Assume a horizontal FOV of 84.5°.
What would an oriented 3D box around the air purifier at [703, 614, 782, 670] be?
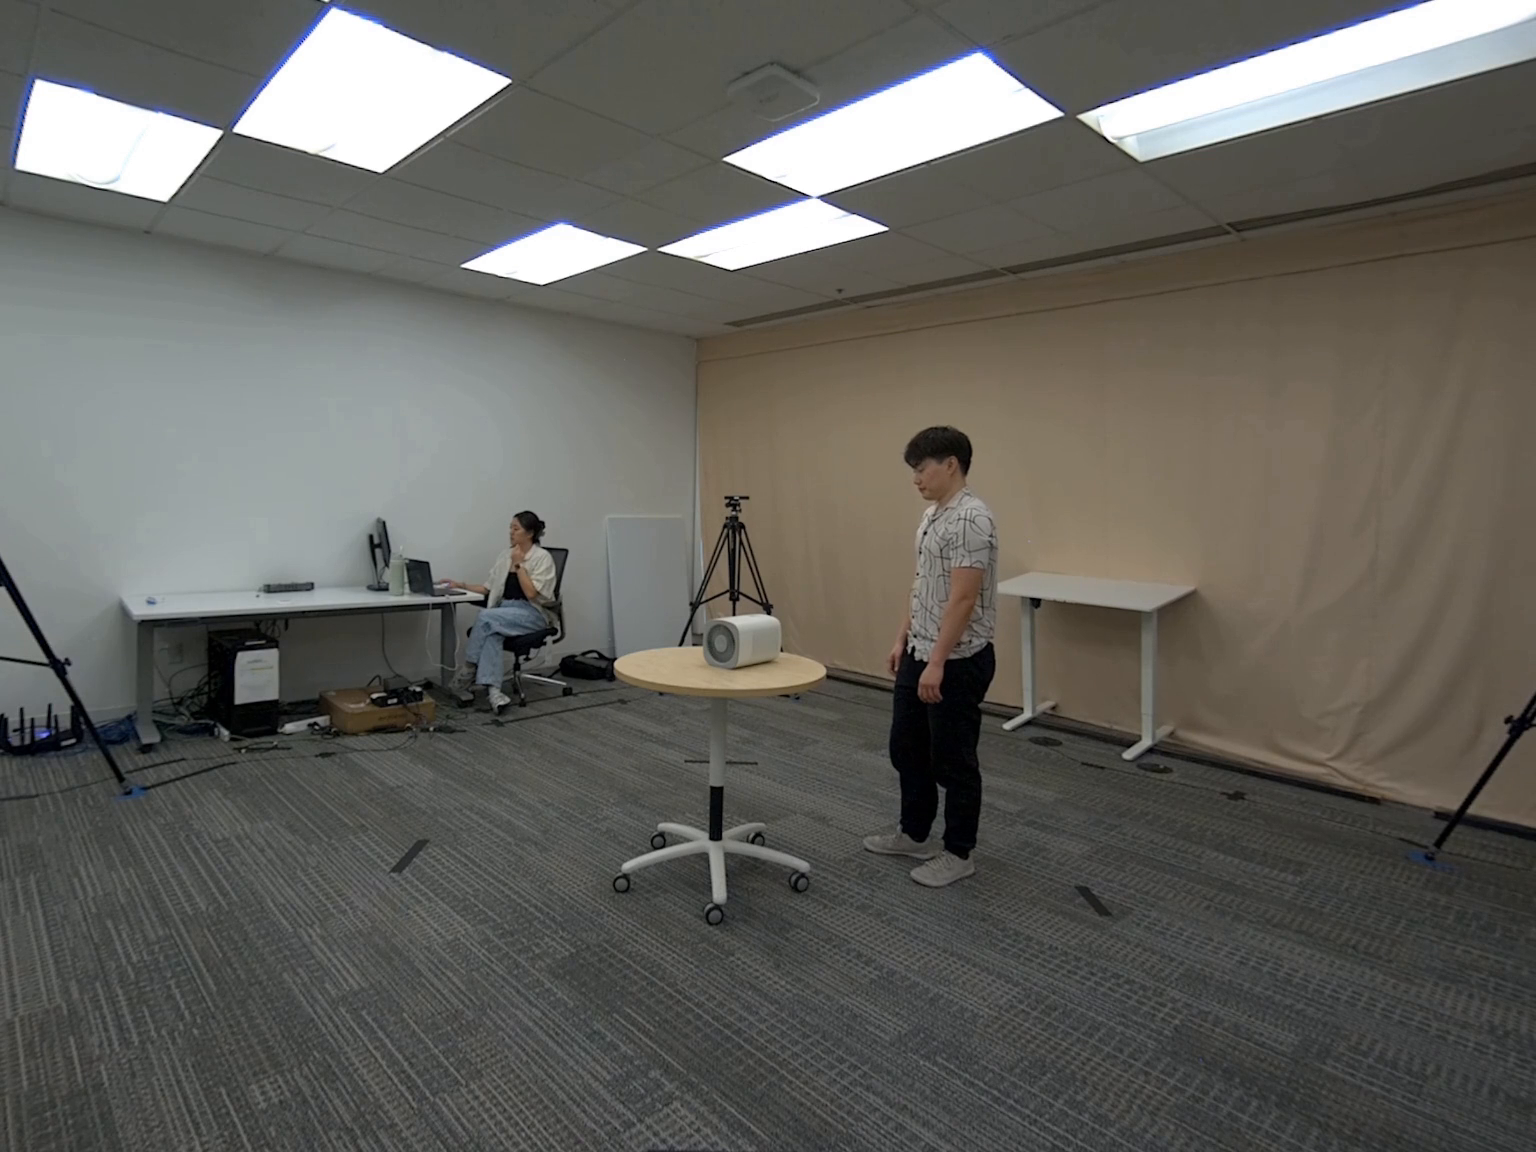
[{"bbox_3d":[-0.093,0.231,3.104,0.175,0.171,0.259,4,5,39],"label":"air purifier"}]
